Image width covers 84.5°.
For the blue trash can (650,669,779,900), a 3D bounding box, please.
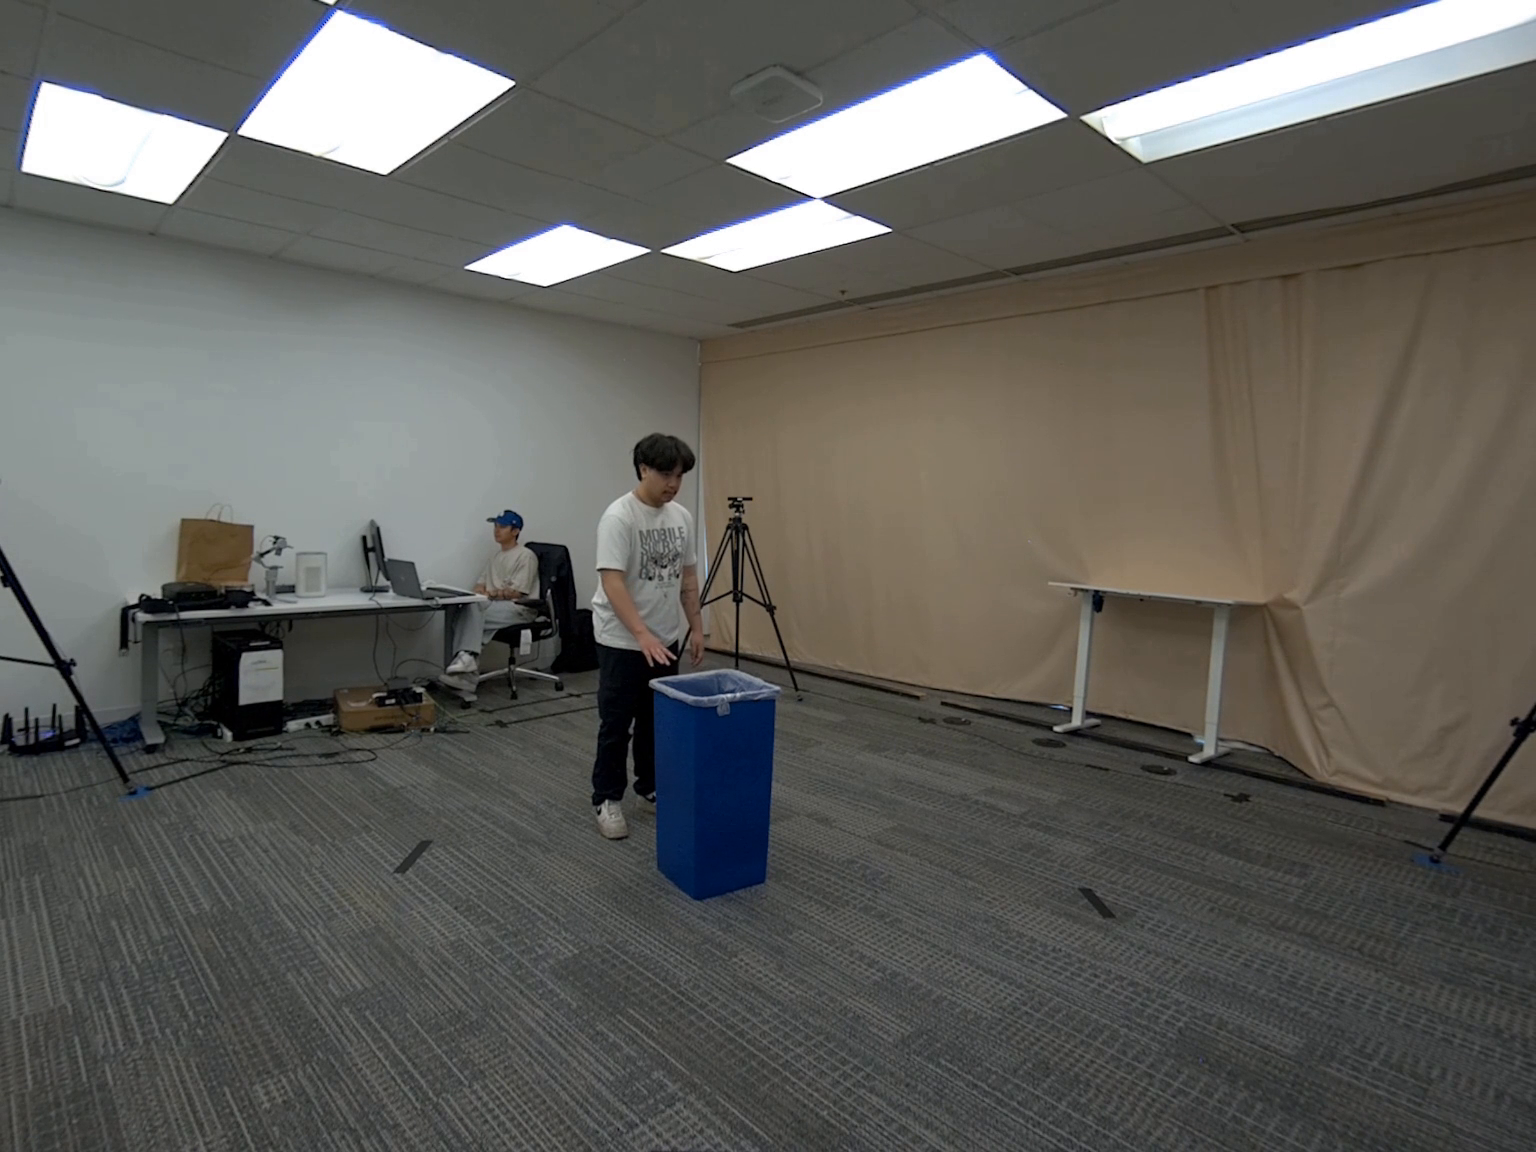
[{"bbox_3d":[-0.215,0.749,3.095,0.370,0.712,0.383,-1,4,-34],"label":"blue trash can"}]
